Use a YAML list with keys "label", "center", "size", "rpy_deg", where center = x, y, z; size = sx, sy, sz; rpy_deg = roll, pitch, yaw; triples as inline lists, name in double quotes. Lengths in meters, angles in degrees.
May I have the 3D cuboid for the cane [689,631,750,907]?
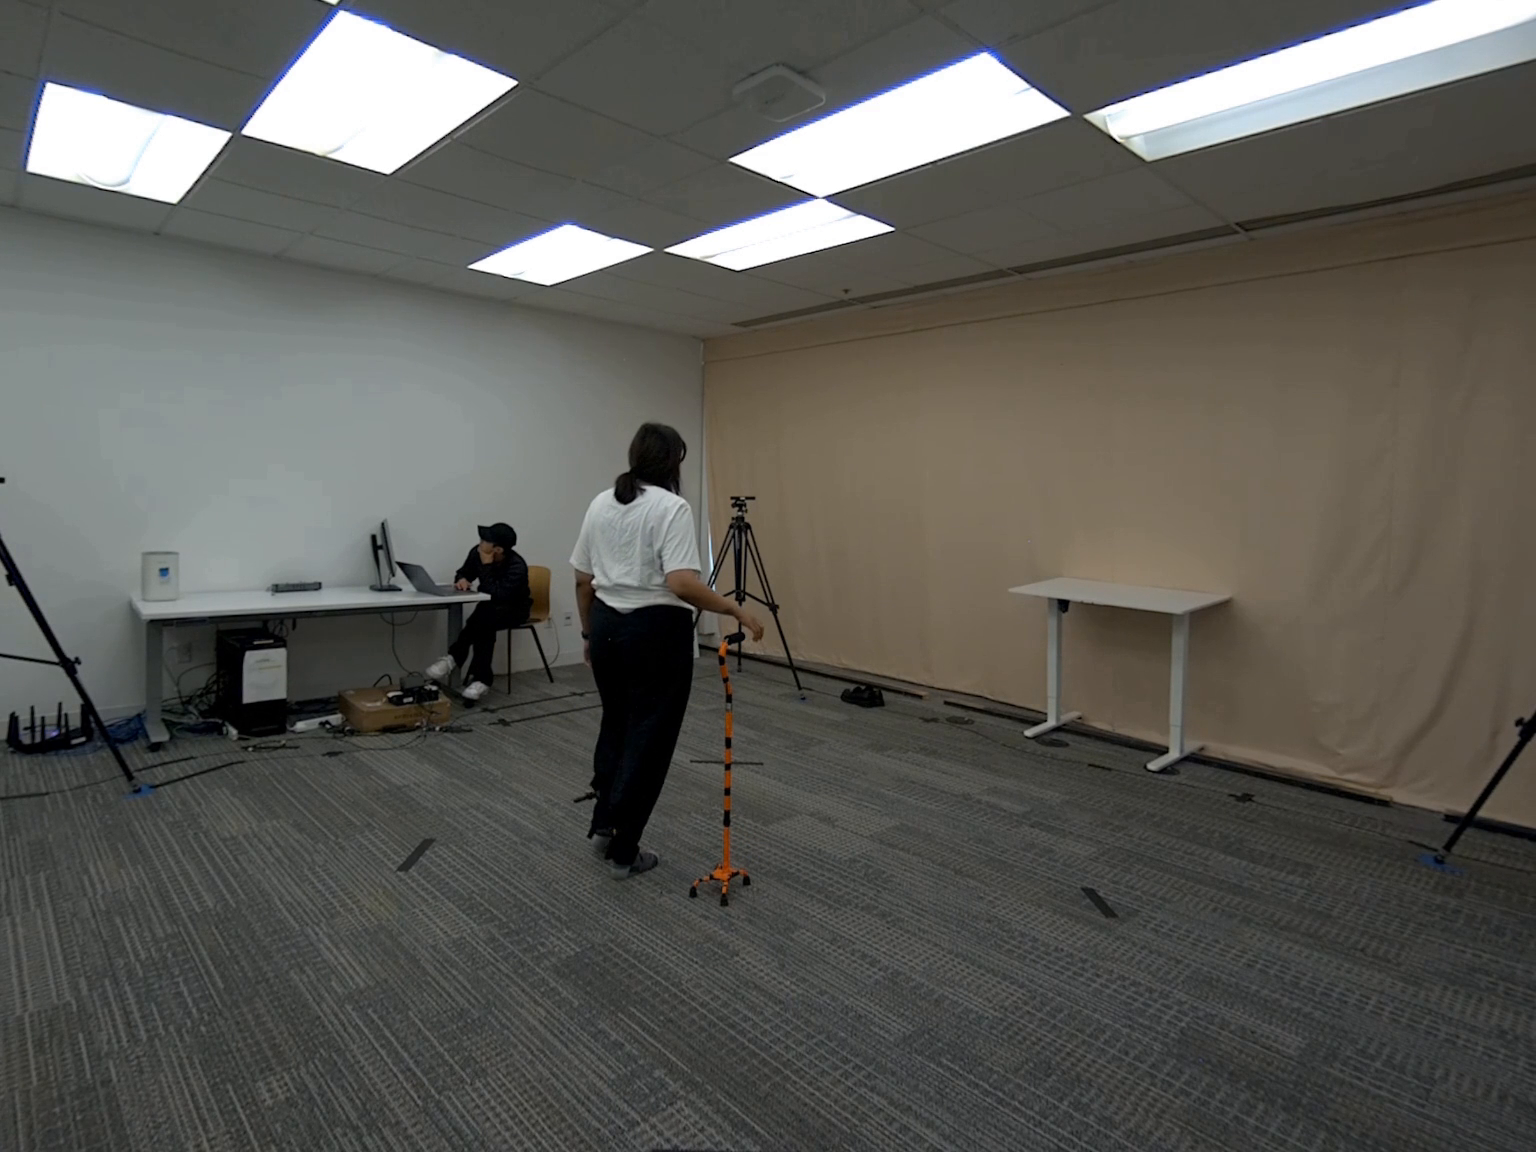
- label: "cane"
  center: [-0.163, 0.665, 2.963]
  size: [0.154, 0.906, 0.203]
  rpy_deg: [2, 3, 25]
